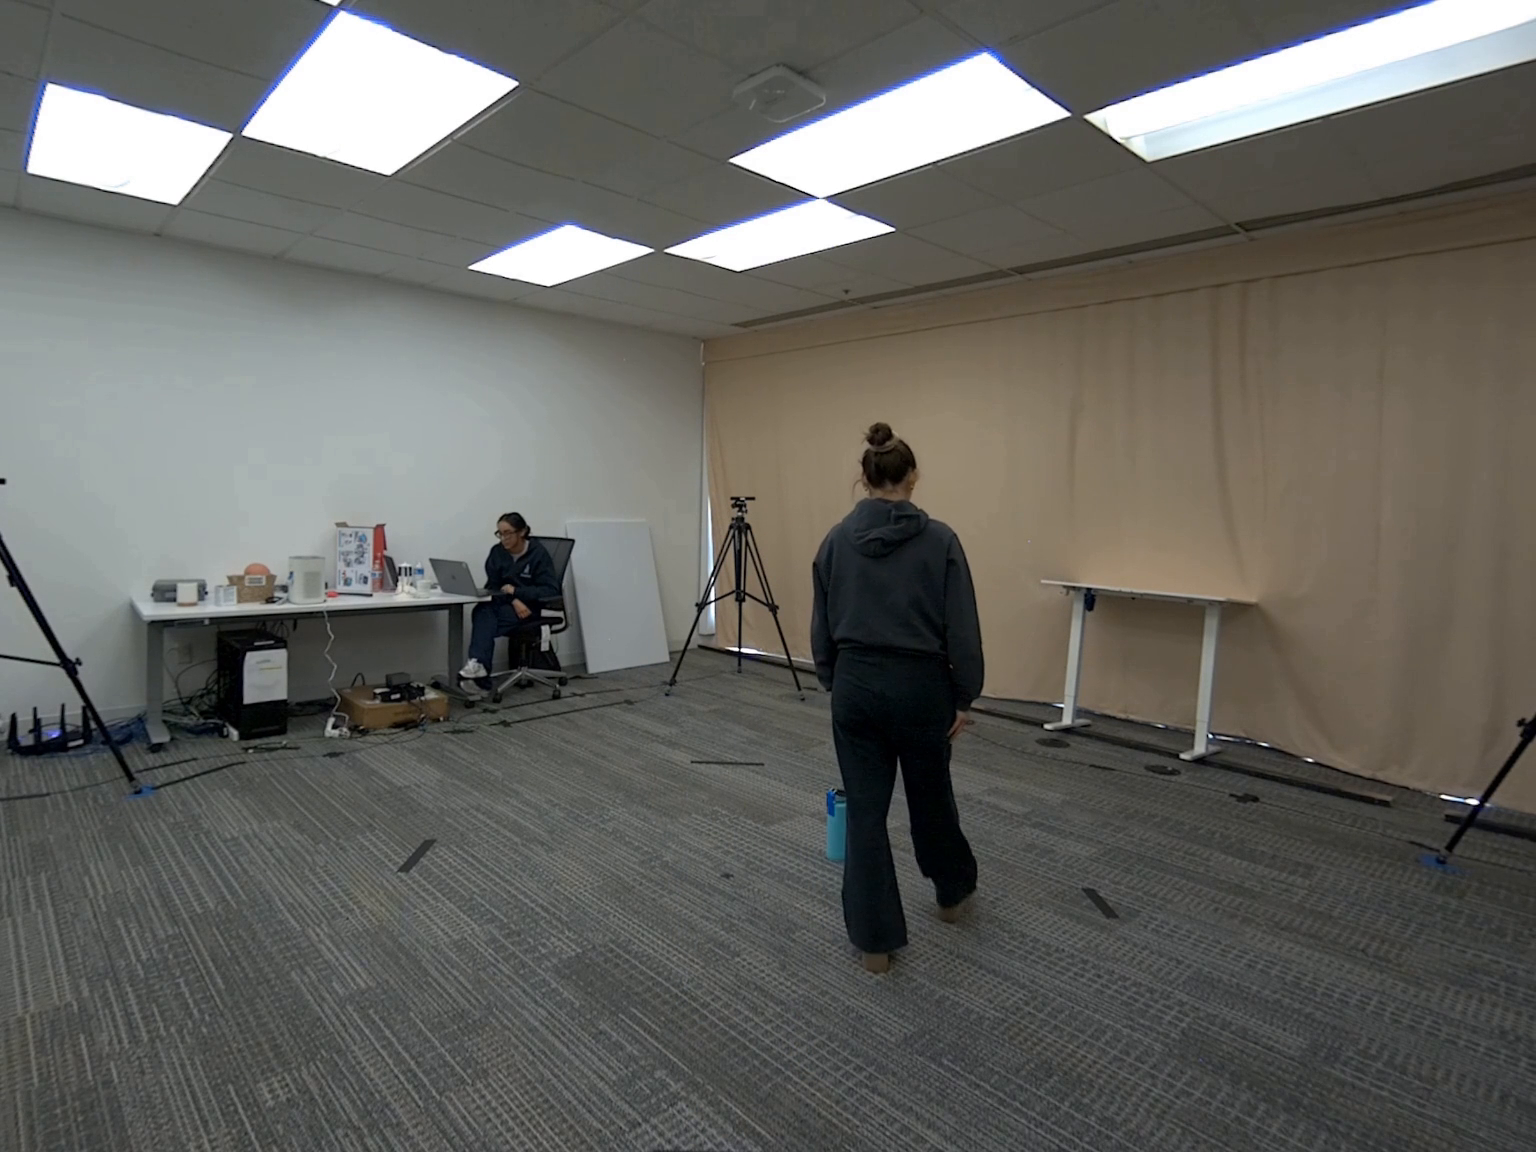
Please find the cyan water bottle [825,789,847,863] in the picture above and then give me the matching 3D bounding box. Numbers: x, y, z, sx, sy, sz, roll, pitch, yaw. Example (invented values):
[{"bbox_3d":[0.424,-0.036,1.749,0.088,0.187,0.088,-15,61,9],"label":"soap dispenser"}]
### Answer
[{"bbox_3d":[0.264,0.957,3.297,0.092,0.282,0.092,1,4,-1],"label":"cyan water bottle"}]
